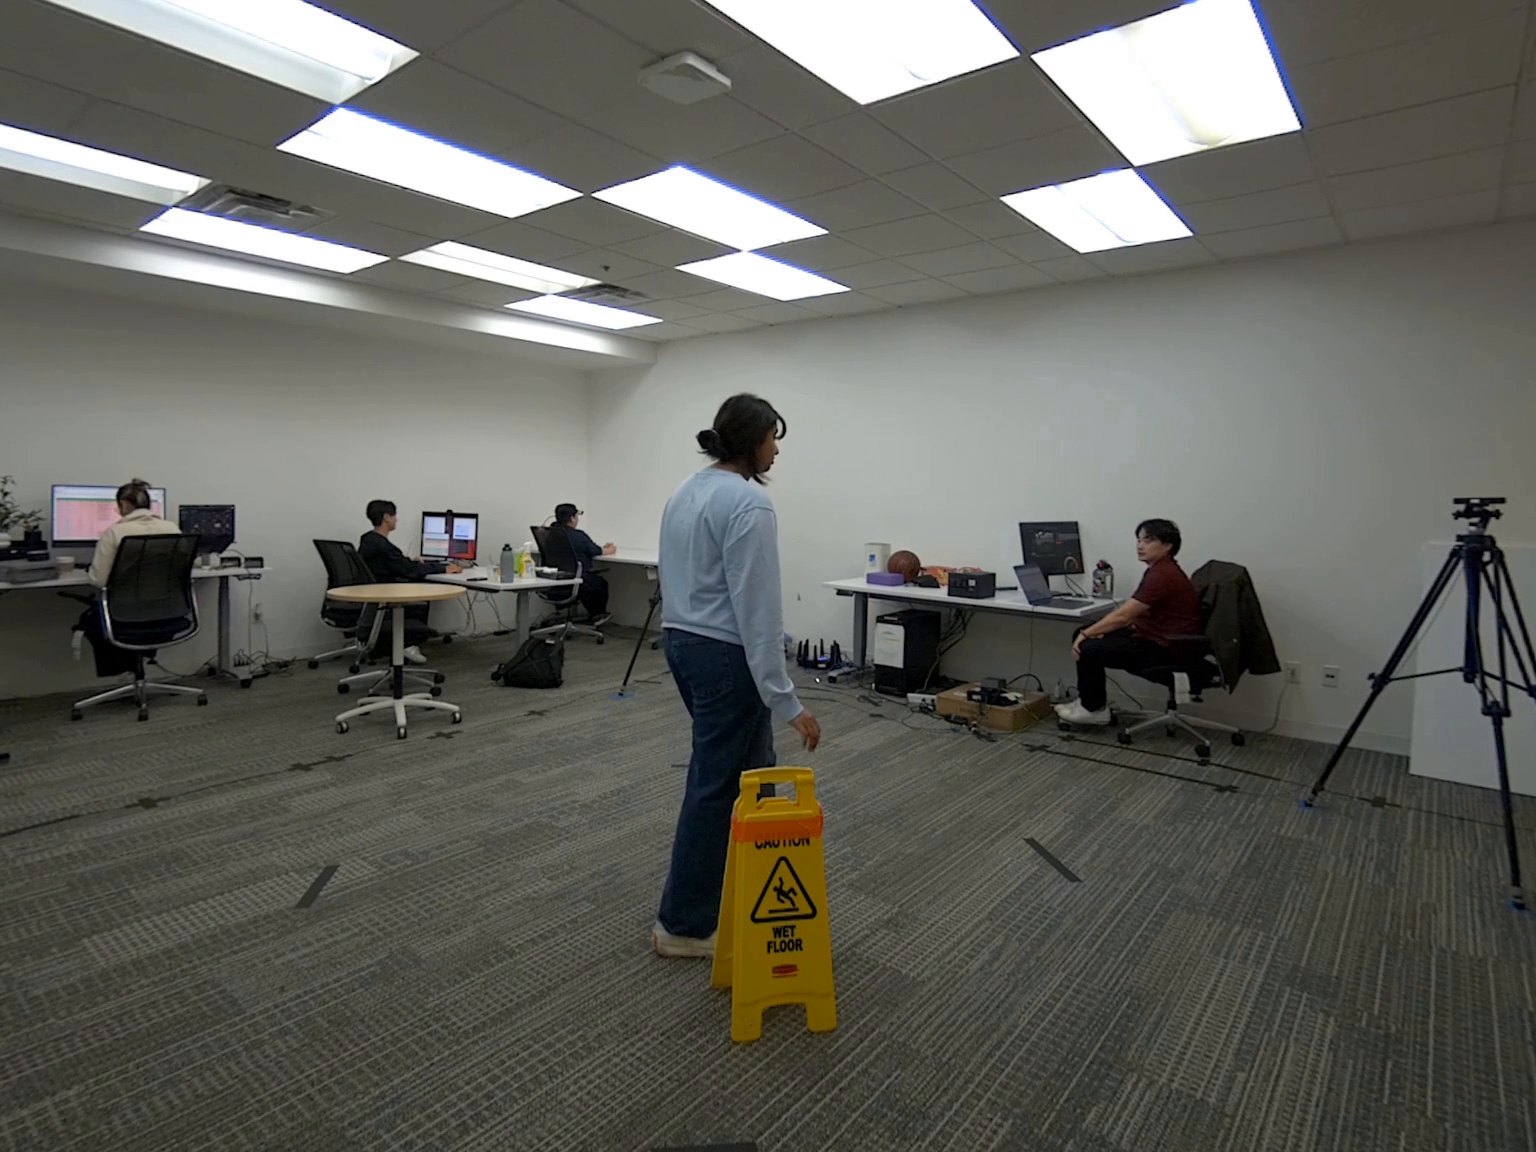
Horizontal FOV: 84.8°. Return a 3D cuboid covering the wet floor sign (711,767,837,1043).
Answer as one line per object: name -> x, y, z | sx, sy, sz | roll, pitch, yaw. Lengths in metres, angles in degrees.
wet floor sign -> 0.009, 0.829, 2.271 | 0.278, 0.644, 0.295 | 2, 3, -15
